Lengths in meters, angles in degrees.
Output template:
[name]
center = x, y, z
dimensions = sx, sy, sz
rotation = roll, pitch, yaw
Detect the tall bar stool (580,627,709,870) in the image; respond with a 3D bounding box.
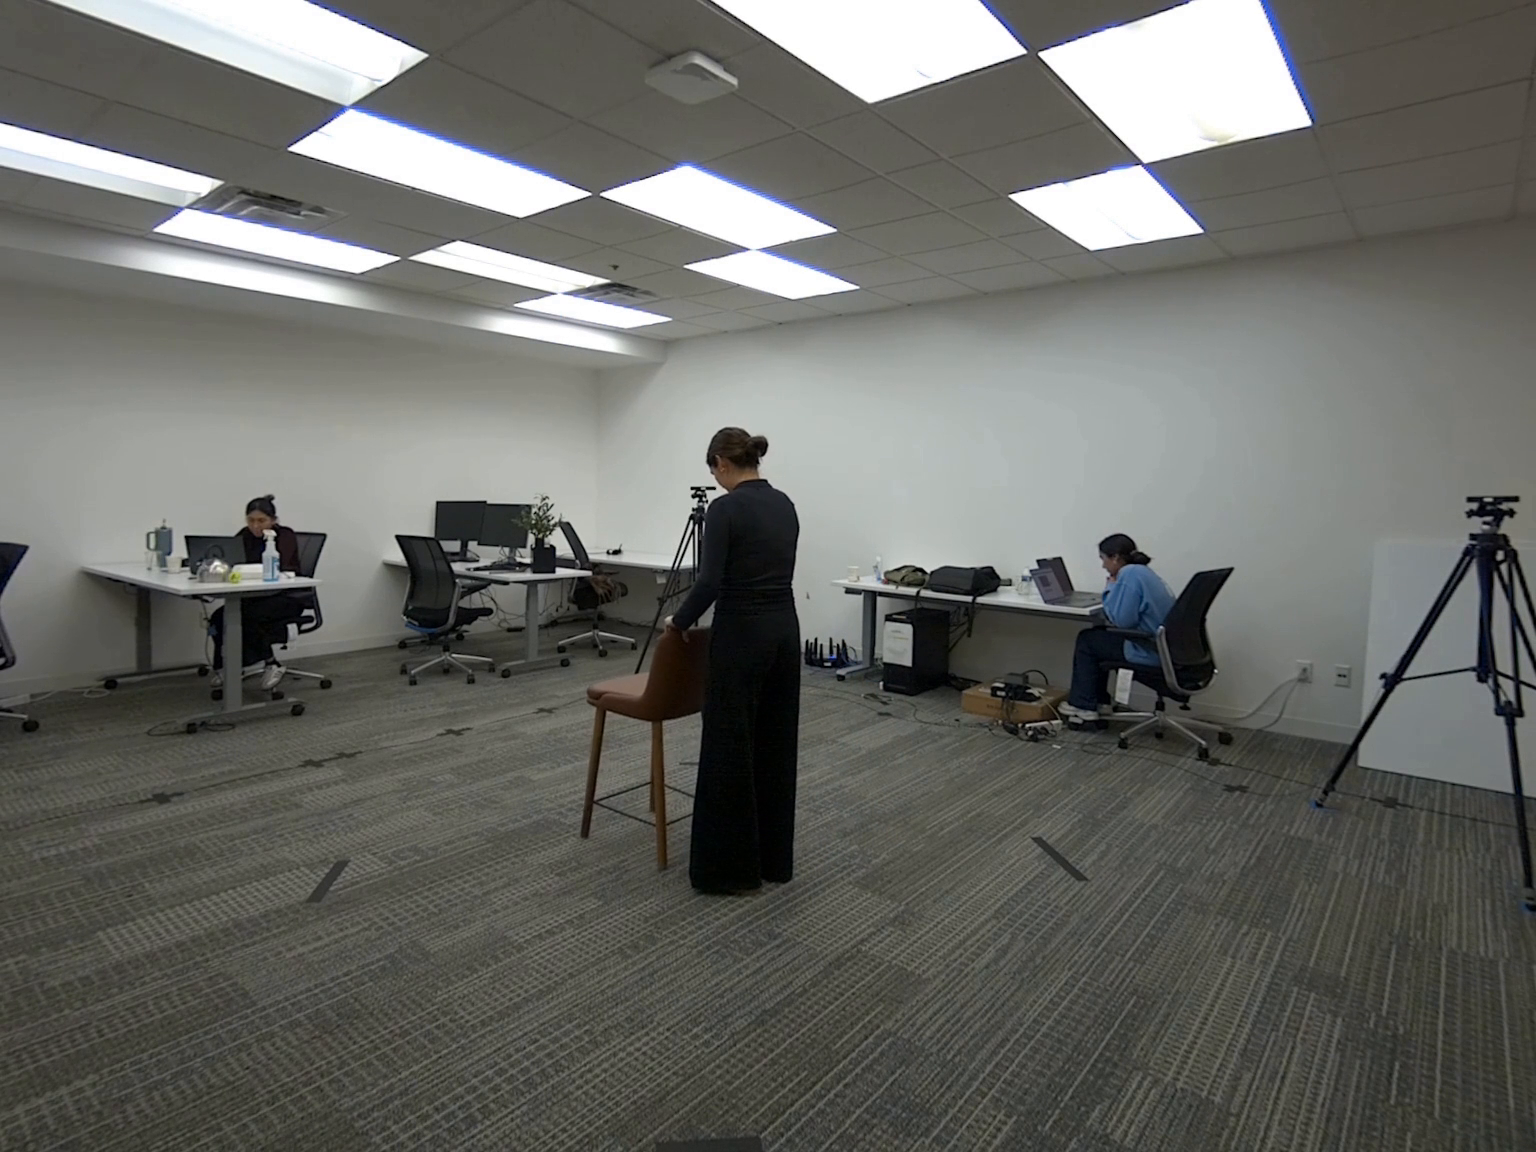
[tall bar stool]
center = -0.440, 0.600, 3.337
dimensions = 0.484, 0.886, 0.443
rotation = 7, 6, 40
